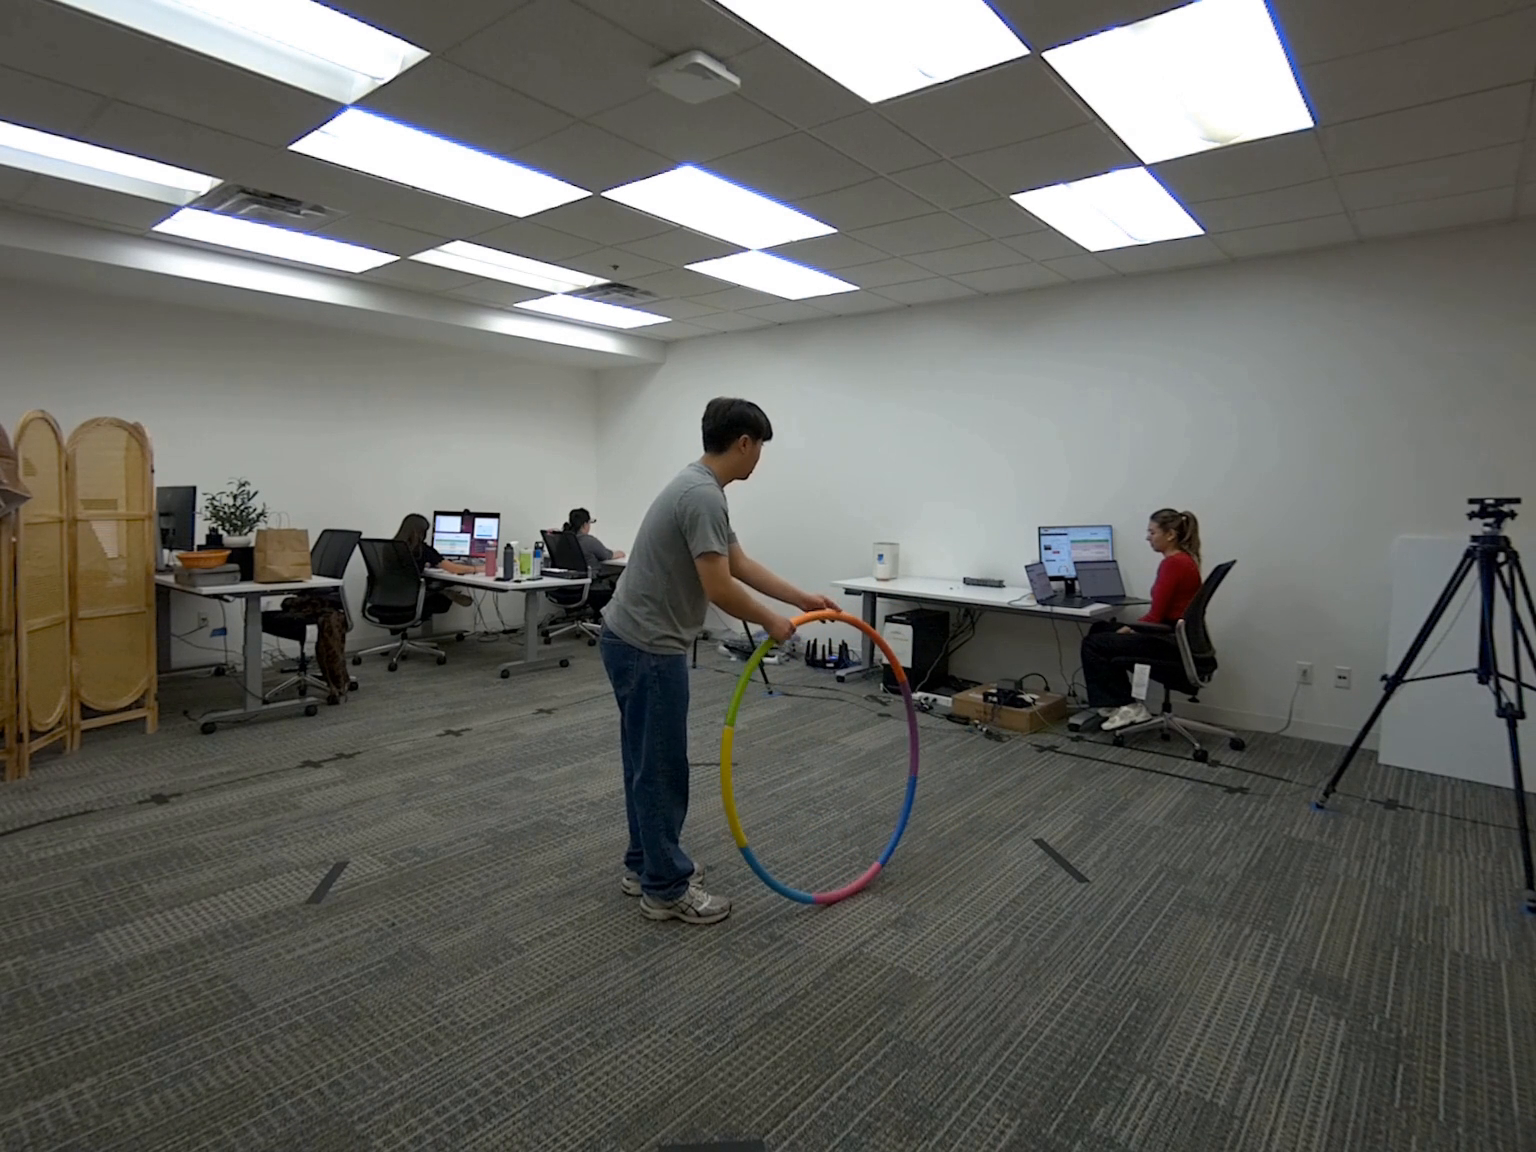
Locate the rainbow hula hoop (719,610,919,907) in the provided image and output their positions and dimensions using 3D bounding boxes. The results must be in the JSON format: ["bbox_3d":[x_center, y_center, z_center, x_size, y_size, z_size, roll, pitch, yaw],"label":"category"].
[{"bbox_3d":[0.213,0.615,2.938,0.949,0.983,0.036,-3,-5,-42],"label":"rainbow hula hoop"}]
